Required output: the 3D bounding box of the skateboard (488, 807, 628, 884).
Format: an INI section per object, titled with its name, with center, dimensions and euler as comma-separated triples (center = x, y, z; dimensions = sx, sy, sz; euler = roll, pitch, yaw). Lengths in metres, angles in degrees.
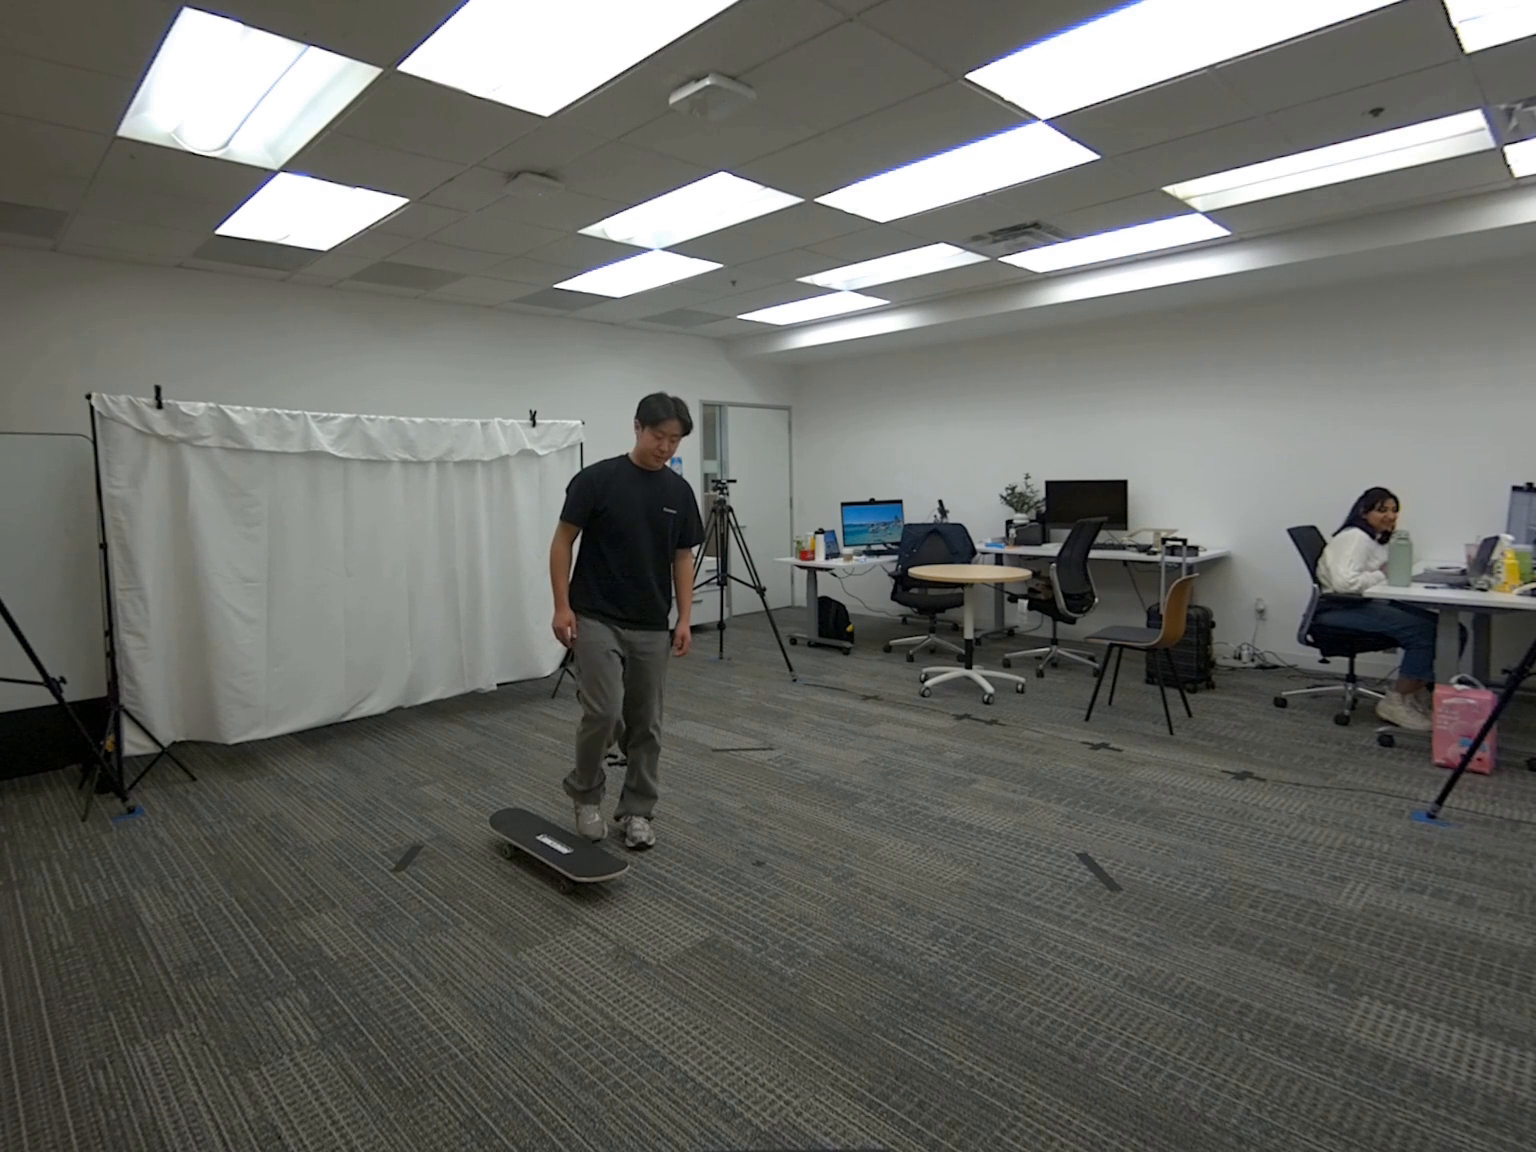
[skateboard]
center = -0.776, 1.007, 3.110
dimensions = 0.188, 0.110, 0.810
euler = -8, 9, -43
